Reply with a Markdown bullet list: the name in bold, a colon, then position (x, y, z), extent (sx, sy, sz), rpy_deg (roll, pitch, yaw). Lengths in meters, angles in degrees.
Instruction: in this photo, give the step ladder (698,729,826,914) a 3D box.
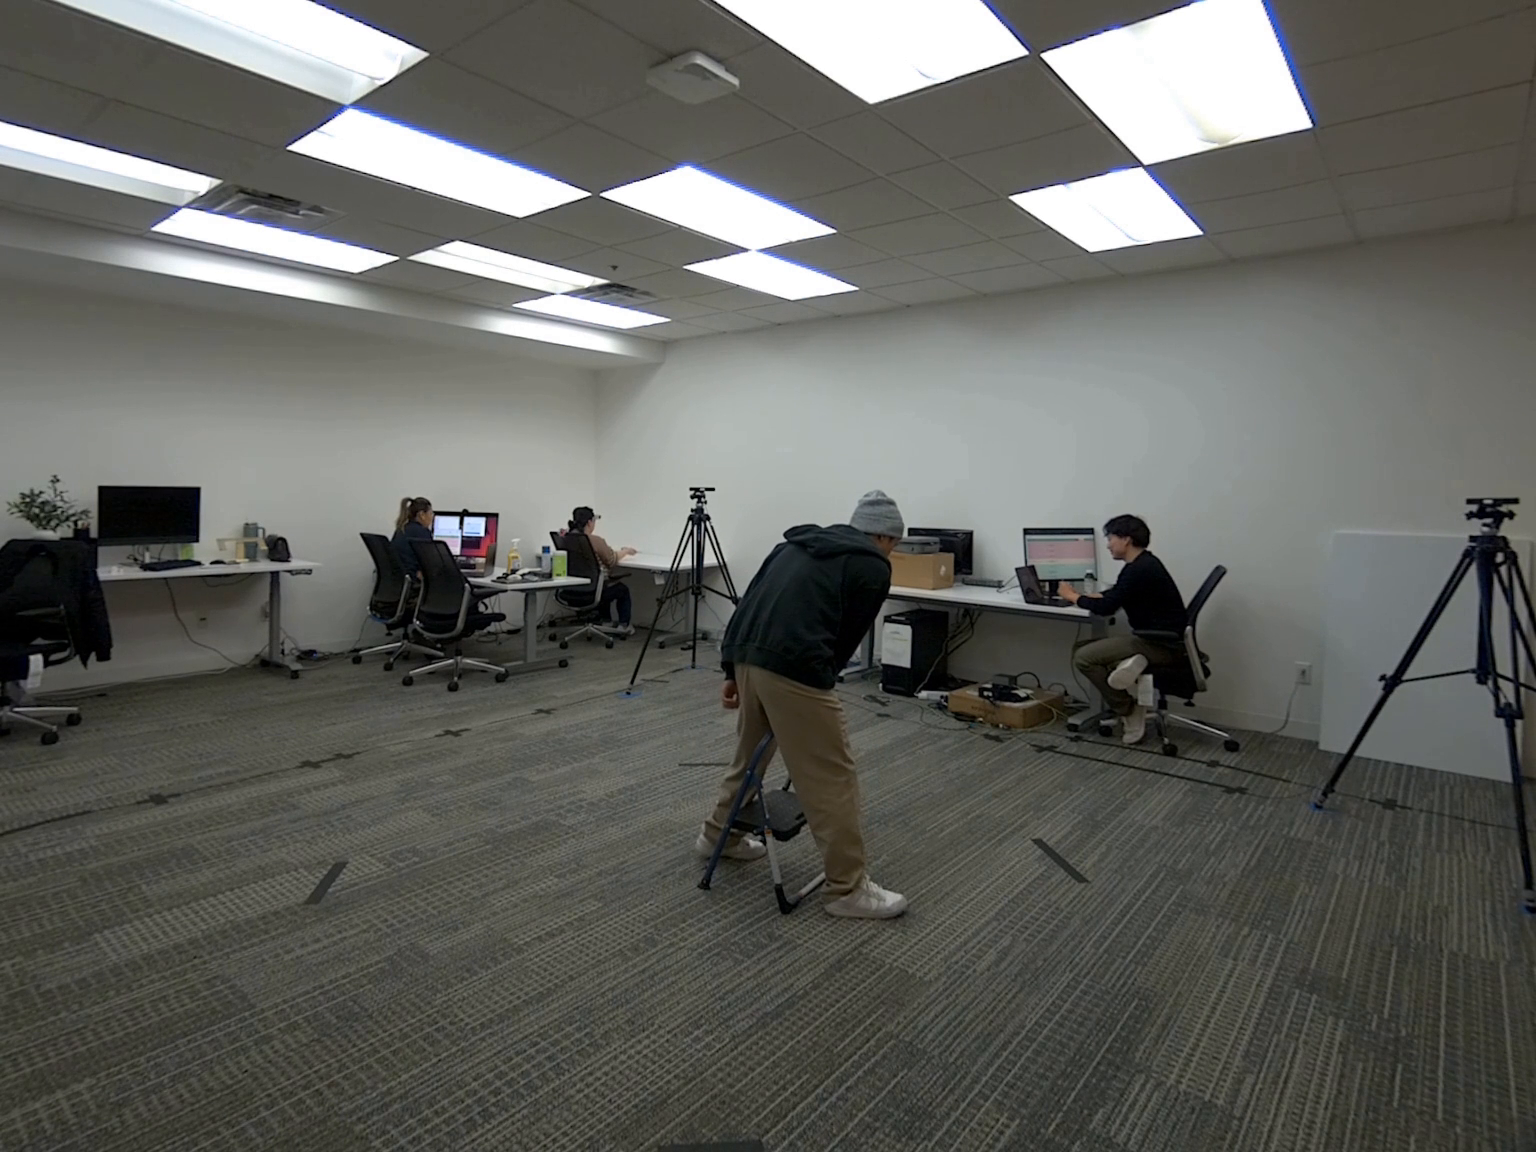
- **step ladder**: position (0.013, 0.779, 3.023), extent (0.360, 0.604, 0.419), rpy_deg (4, 4, 30)
